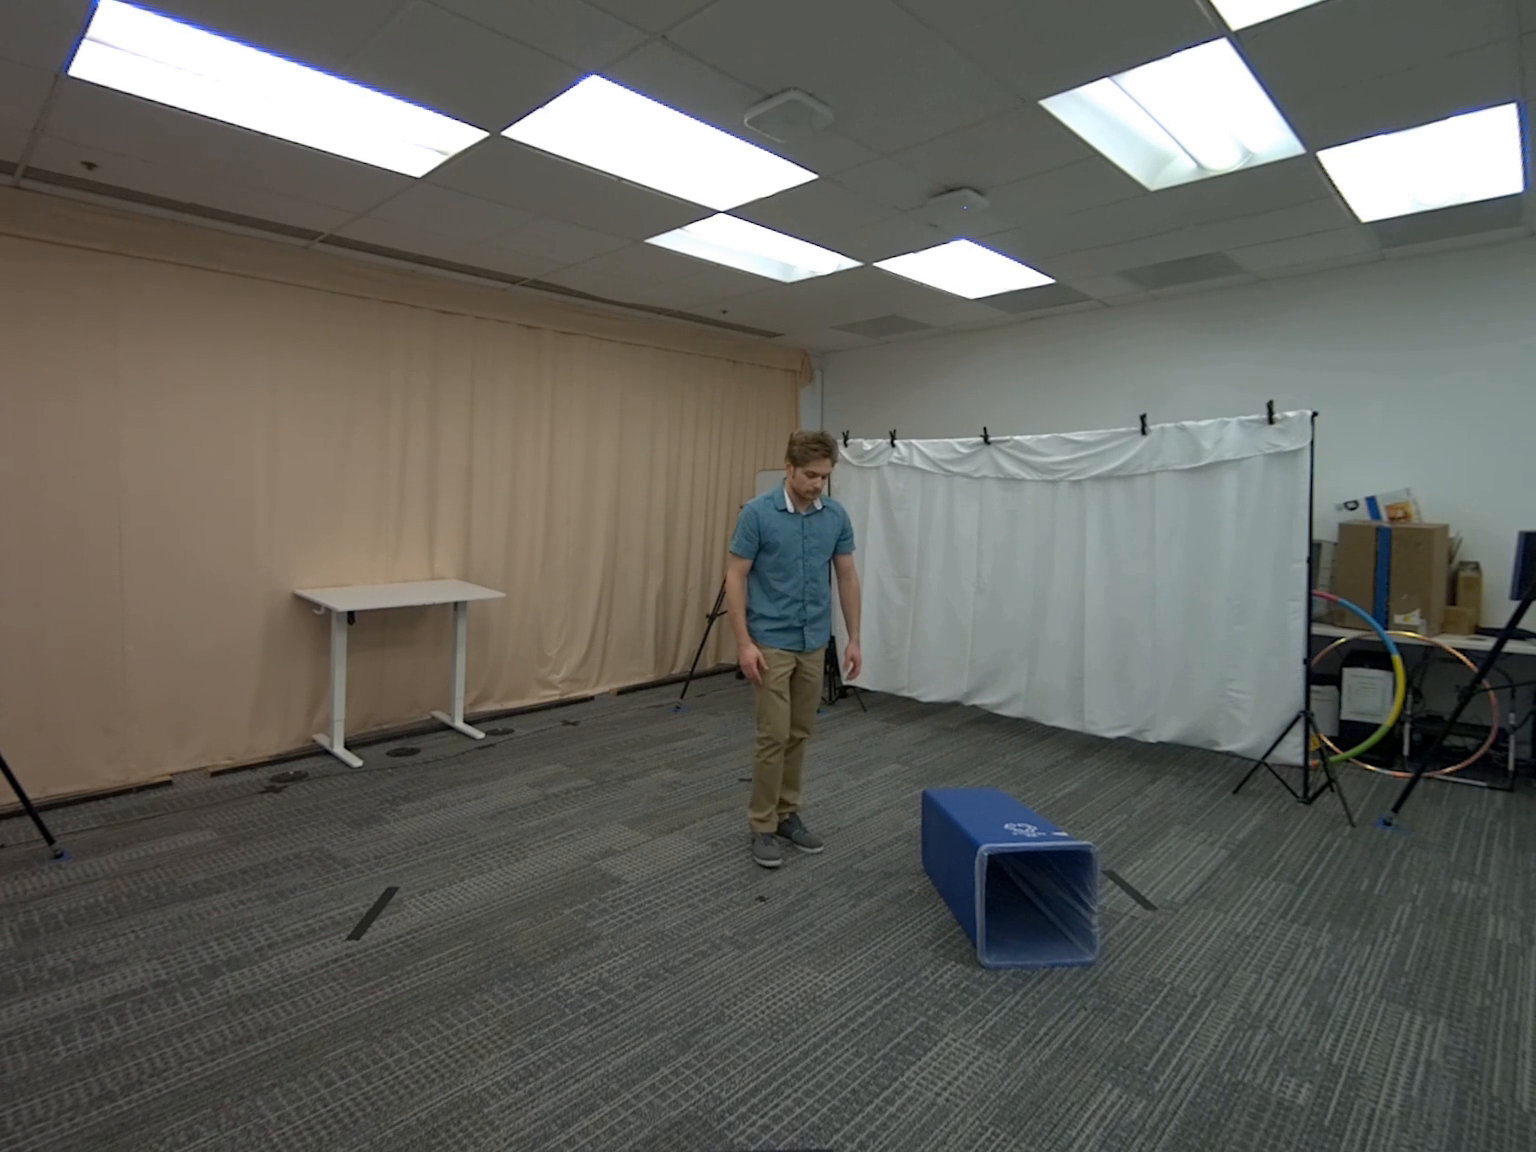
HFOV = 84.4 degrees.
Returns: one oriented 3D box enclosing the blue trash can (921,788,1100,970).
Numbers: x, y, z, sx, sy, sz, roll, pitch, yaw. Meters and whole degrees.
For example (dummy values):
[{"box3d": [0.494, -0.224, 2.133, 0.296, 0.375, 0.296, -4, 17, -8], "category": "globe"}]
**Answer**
[{"box3d": [0.780, 0.984, 2.881, 0.372, 0.378, 0.718, -1, 2, -6], "category": "blue trash can"}]
